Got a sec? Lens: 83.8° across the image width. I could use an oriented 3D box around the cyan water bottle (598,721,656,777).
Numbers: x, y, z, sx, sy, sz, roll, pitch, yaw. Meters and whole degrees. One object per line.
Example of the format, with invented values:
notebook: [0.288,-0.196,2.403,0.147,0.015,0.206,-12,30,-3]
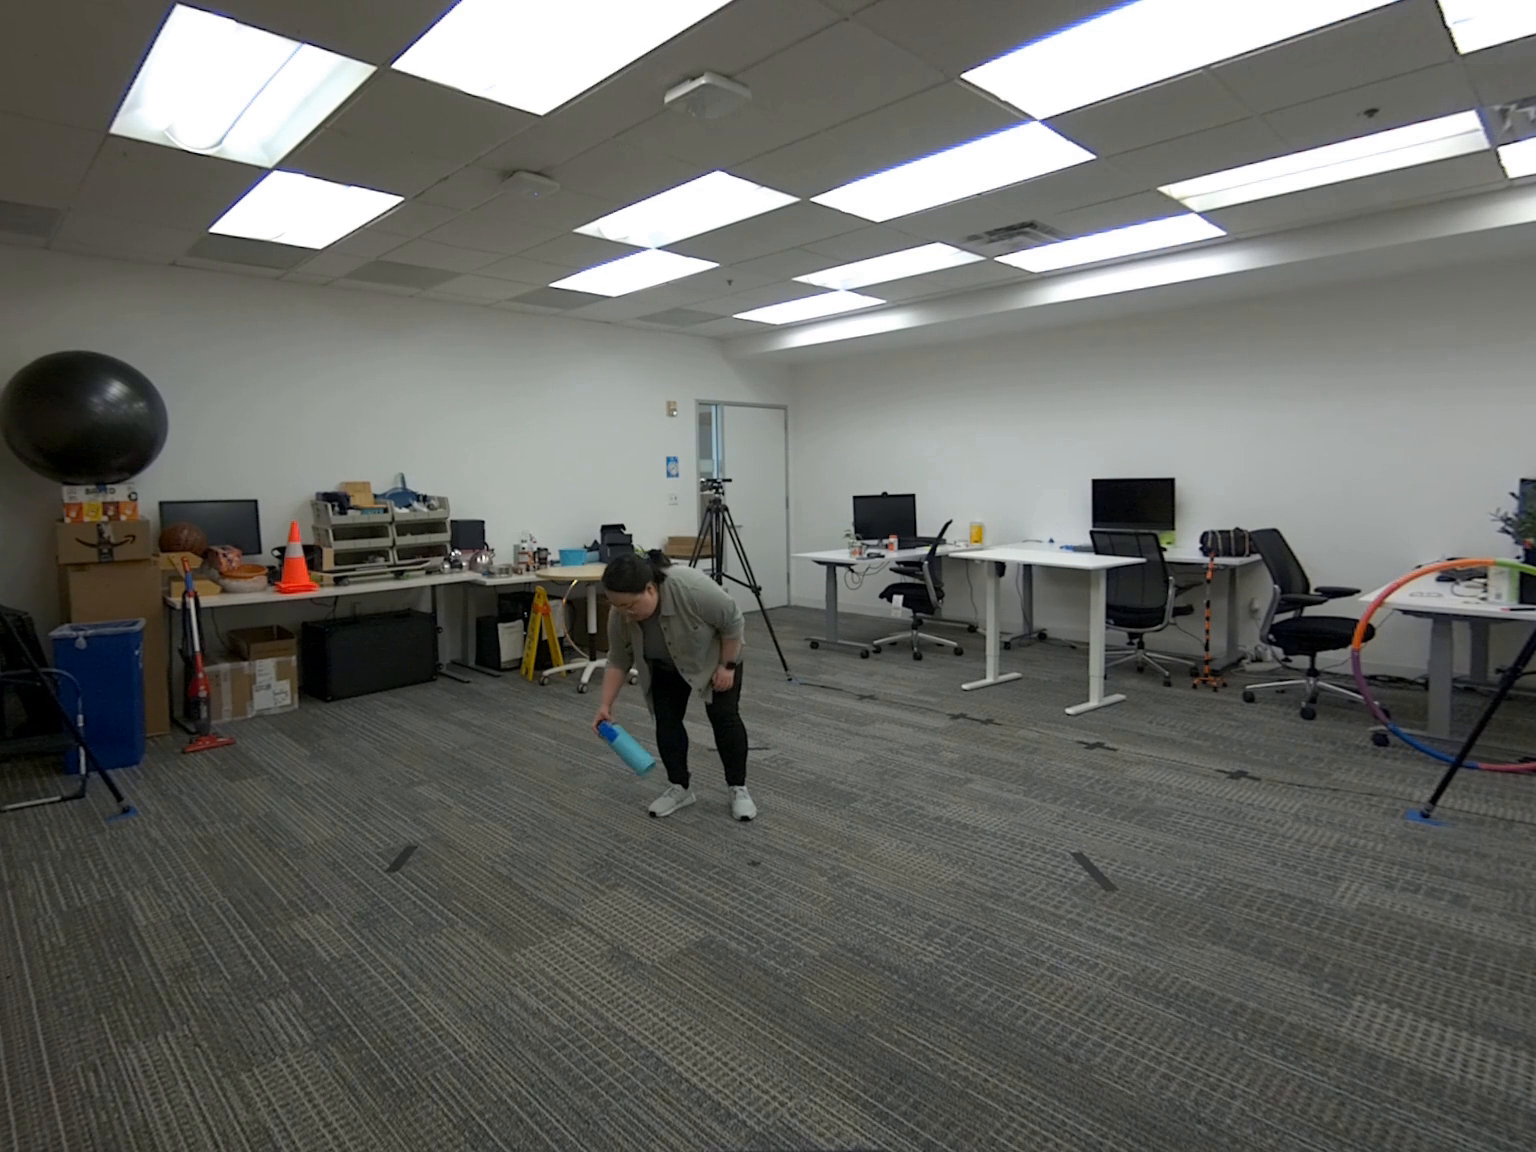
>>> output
cyan water bottle: [-0.574,0.681,3.453,0.290,0.092,0.090,41,20,19]
